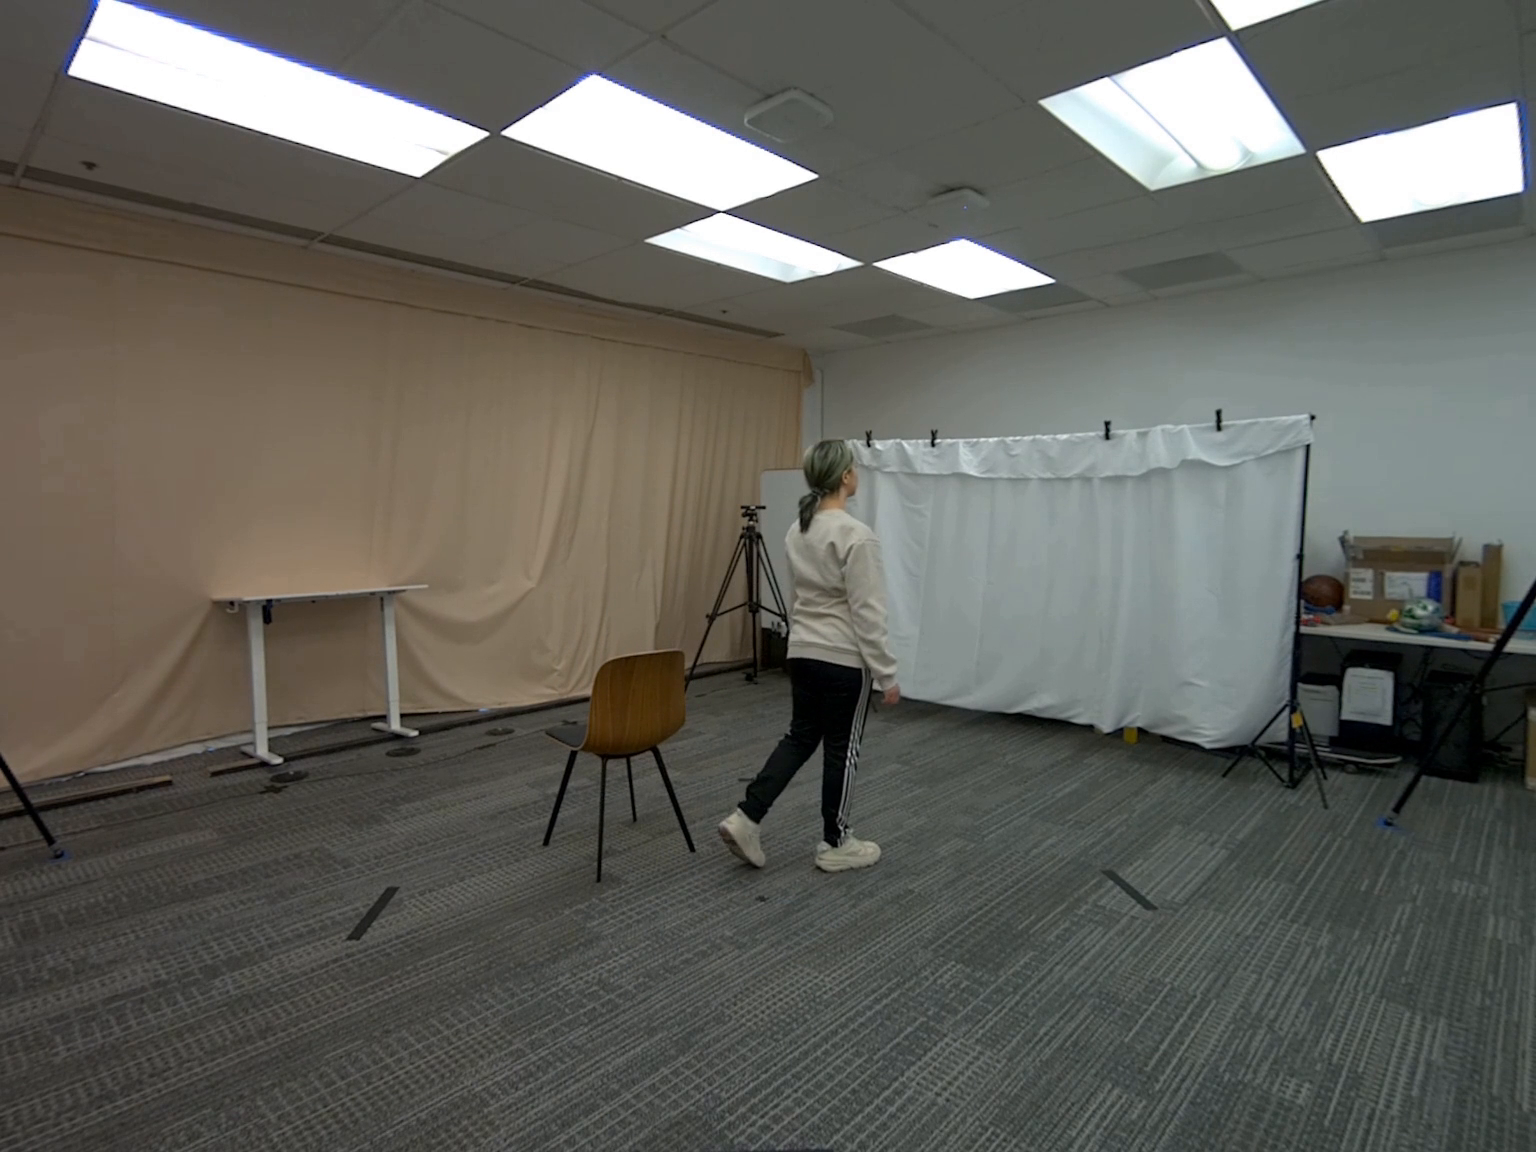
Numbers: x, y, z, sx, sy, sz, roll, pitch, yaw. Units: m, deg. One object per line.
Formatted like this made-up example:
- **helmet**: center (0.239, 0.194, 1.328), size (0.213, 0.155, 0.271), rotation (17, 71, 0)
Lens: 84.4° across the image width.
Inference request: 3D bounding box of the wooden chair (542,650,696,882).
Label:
- **wooden chair**: center (-0.619, 0.689, 3.412), size (0.464, 0.874, 0.541), rotation (-3, 9, -39)
